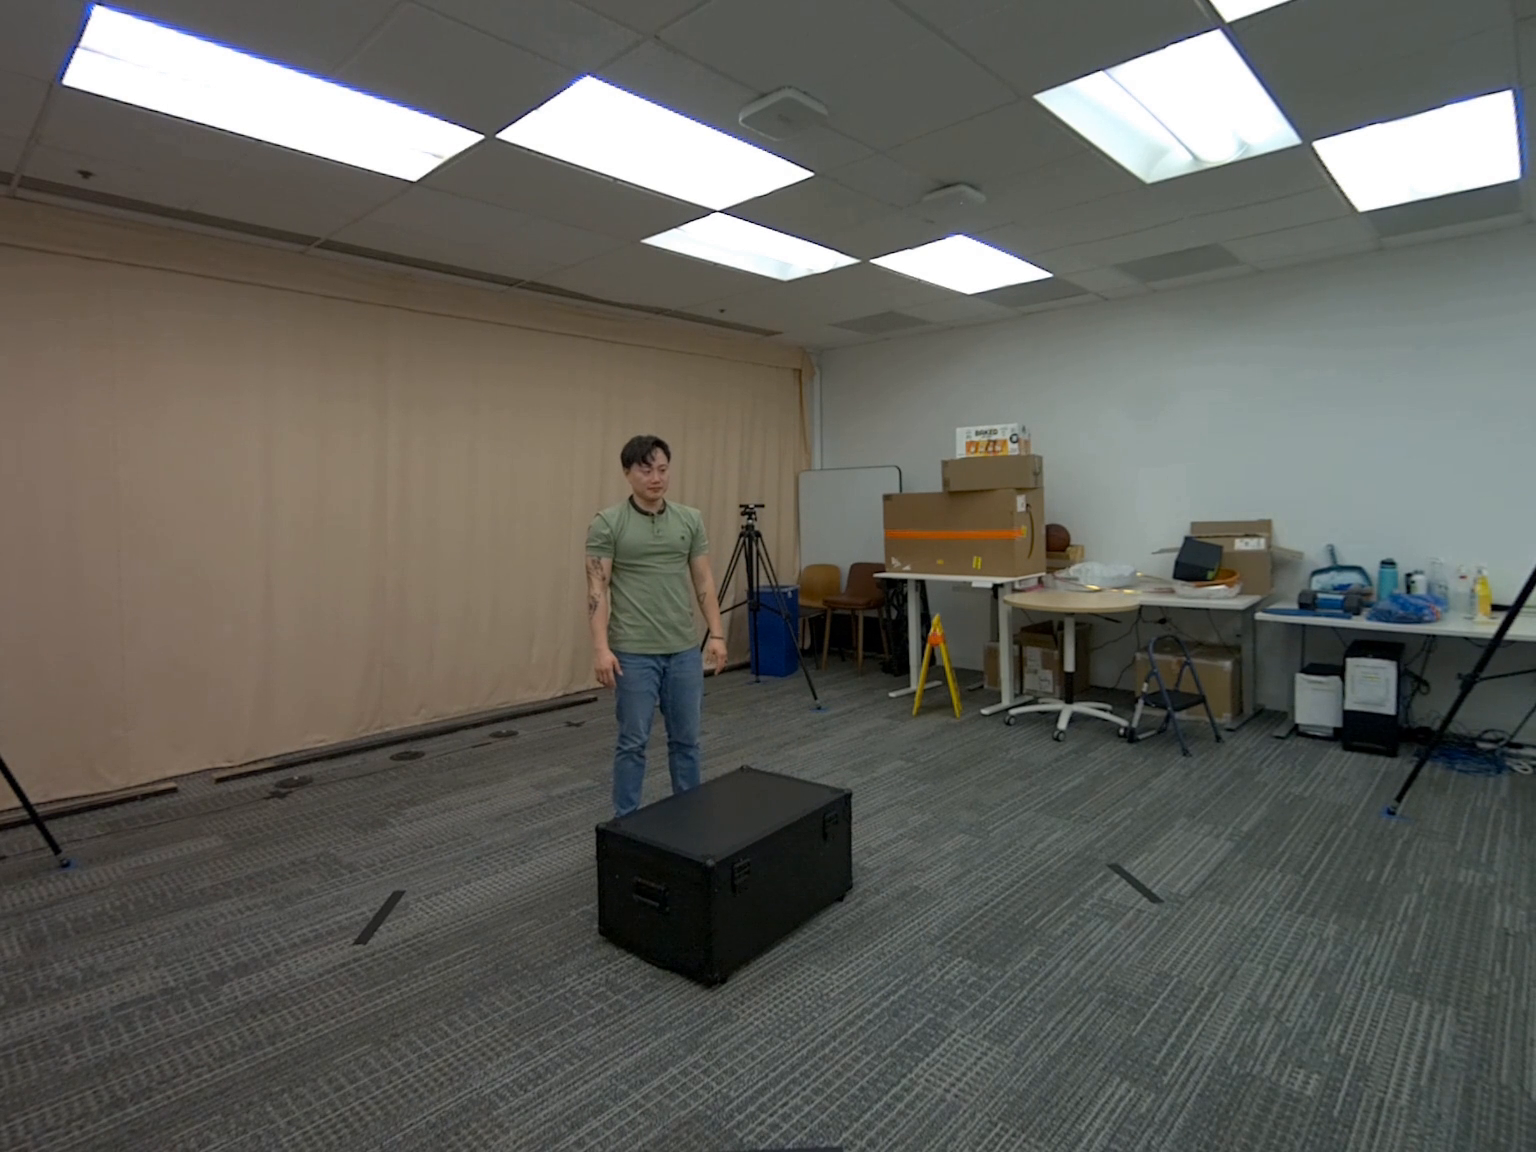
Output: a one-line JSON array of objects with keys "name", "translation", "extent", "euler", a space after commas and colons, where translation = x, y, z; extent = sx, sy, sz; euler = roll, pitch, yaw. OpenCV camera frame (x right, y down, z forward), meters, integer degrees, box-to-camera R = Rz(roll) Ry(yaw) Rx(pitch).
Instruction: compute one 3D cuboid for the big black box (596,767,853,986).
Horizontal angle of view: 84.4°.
[{"name": "big black box", "translation": [-0.093, 0.963, 2.859], "extent": [0.538, 0.395, 0.837], "euler": [2, 6, 37]}]
